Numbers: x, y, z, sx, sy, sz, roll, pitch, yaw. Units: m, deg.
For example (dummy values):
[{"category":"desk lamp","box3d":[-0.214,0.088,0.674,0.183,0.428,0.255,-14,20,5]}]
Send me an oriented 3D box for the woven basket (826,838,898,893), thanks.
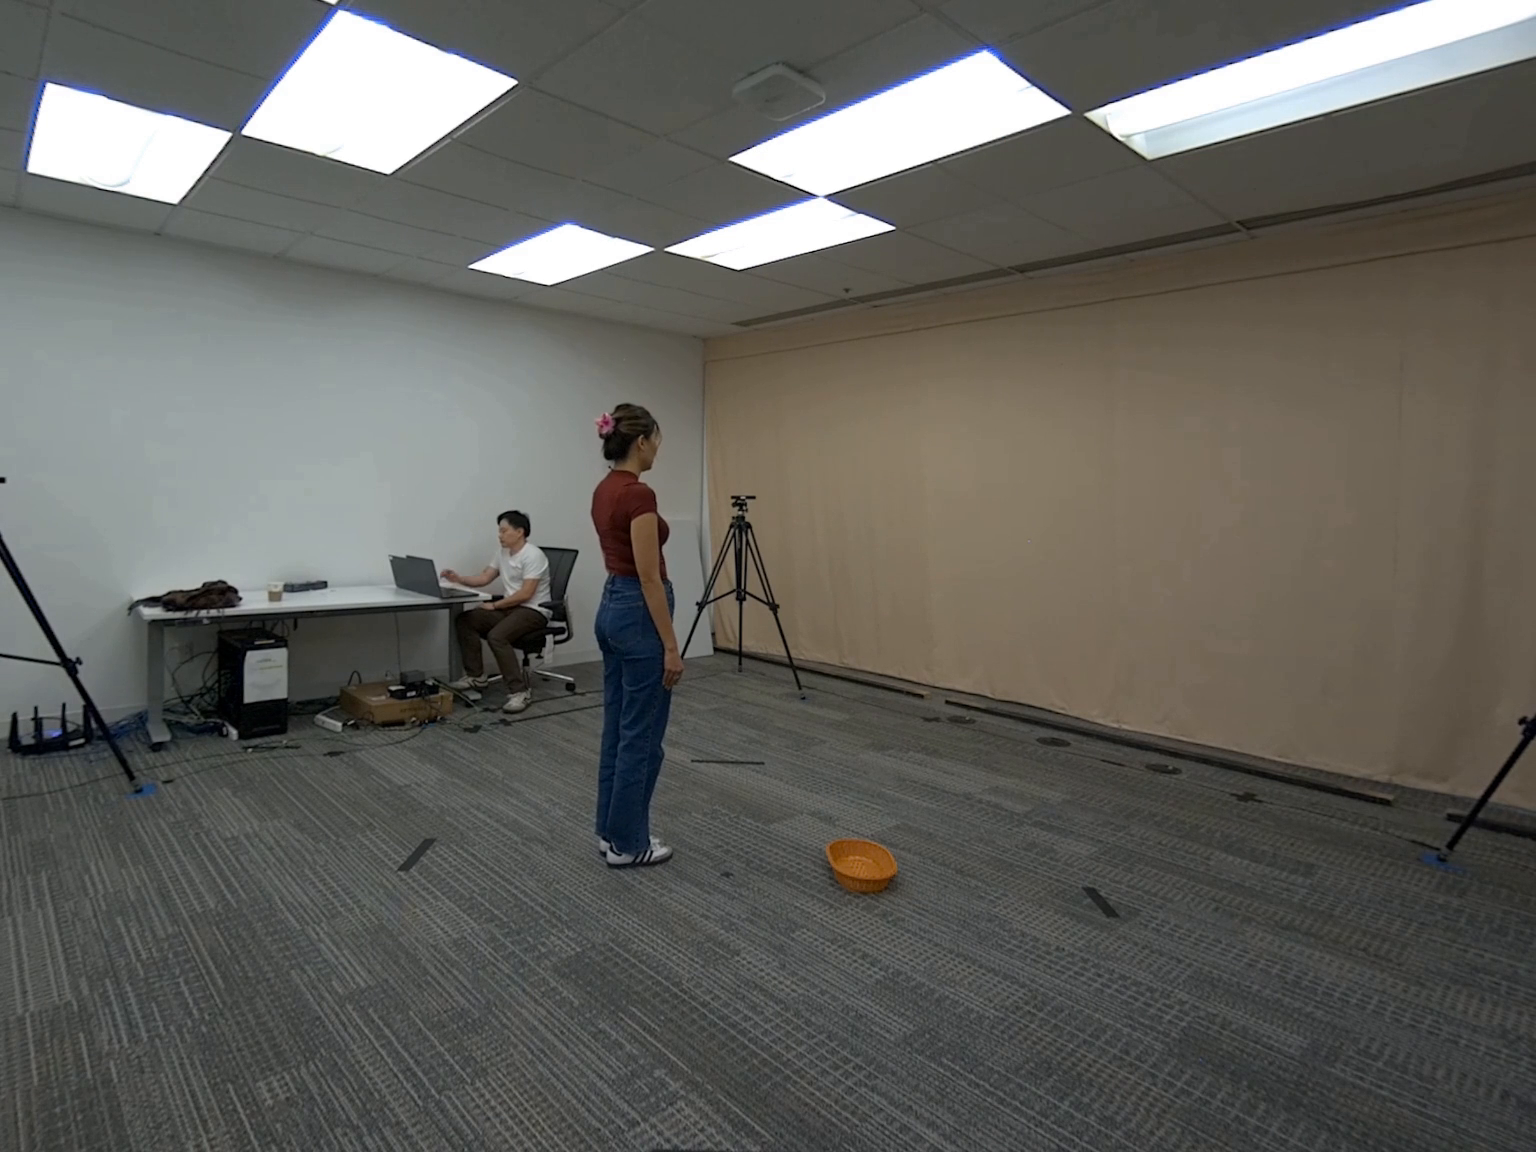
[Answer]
[{"category":"woven basket","box3d":[0.329,1.070,3.114,0.252,0.073,0.352,2,5,-4]}]
